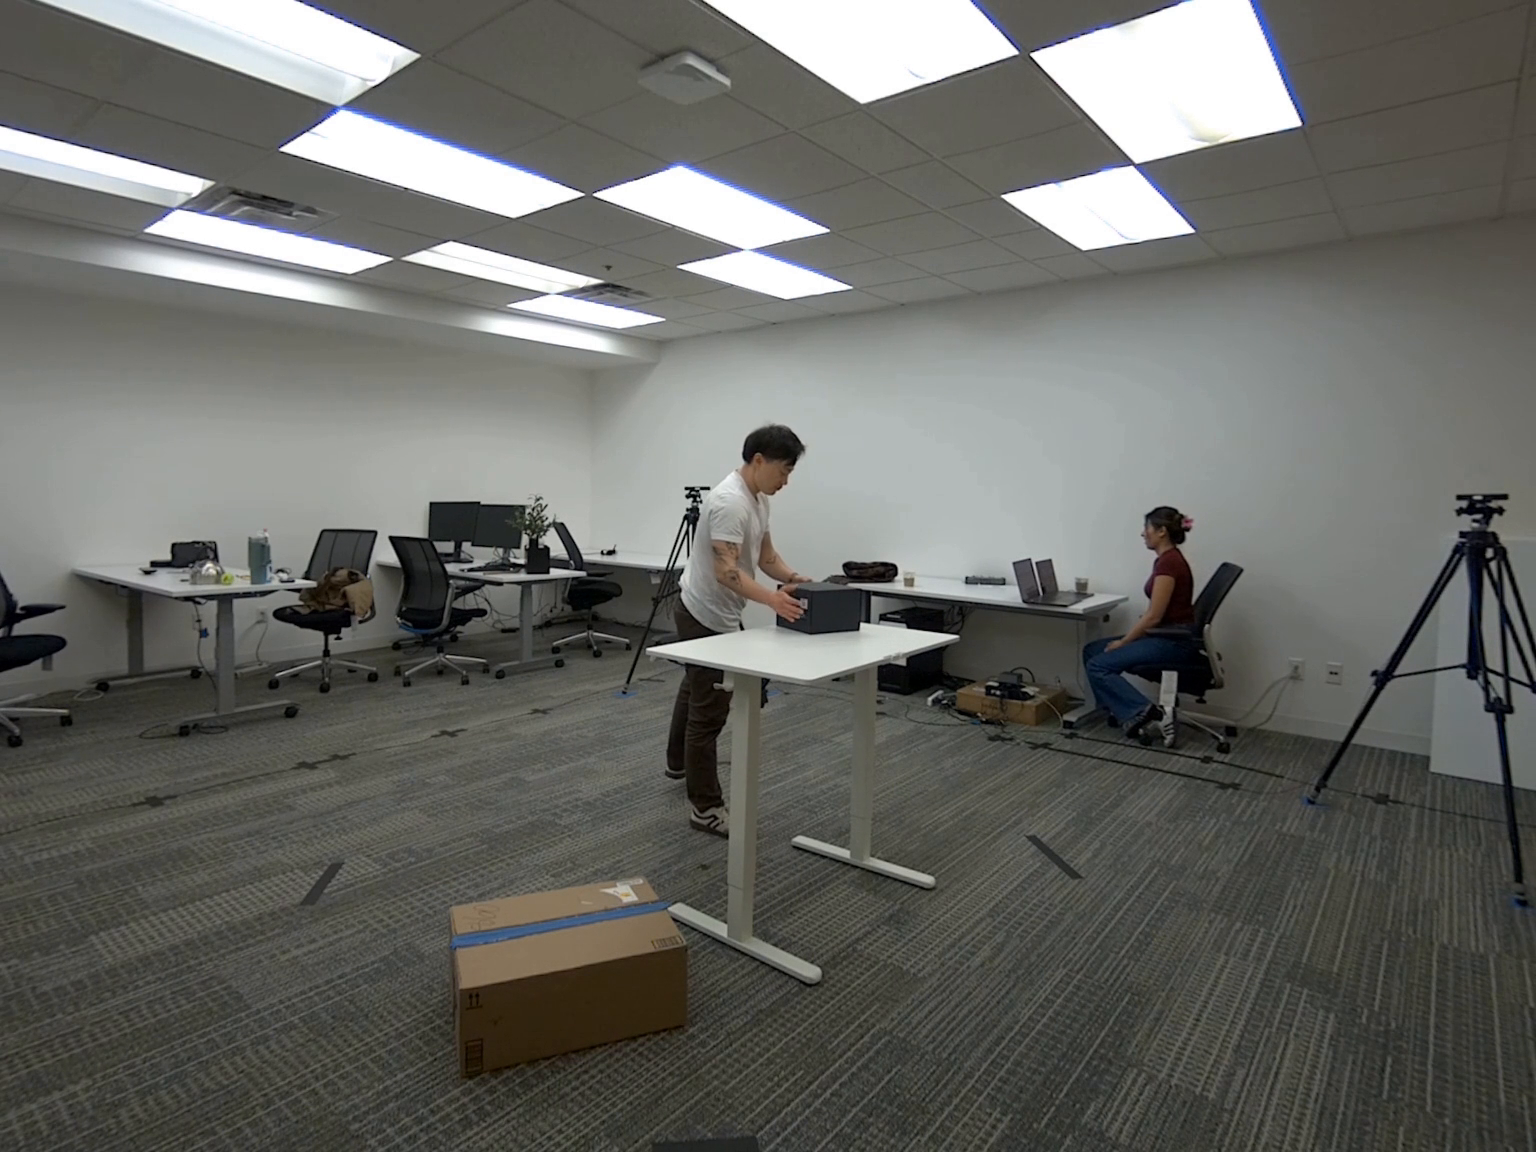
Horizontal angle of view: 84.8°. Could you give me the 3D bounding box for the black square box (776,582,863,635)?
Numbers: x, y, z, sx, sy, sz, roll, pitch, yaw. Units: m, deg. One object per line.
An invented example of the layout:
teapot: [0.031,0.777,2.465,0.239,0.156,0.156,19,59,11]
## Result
black square box: [0.177,0.114,3.107,0.221,0.155,0.224,-1,5,-33]
